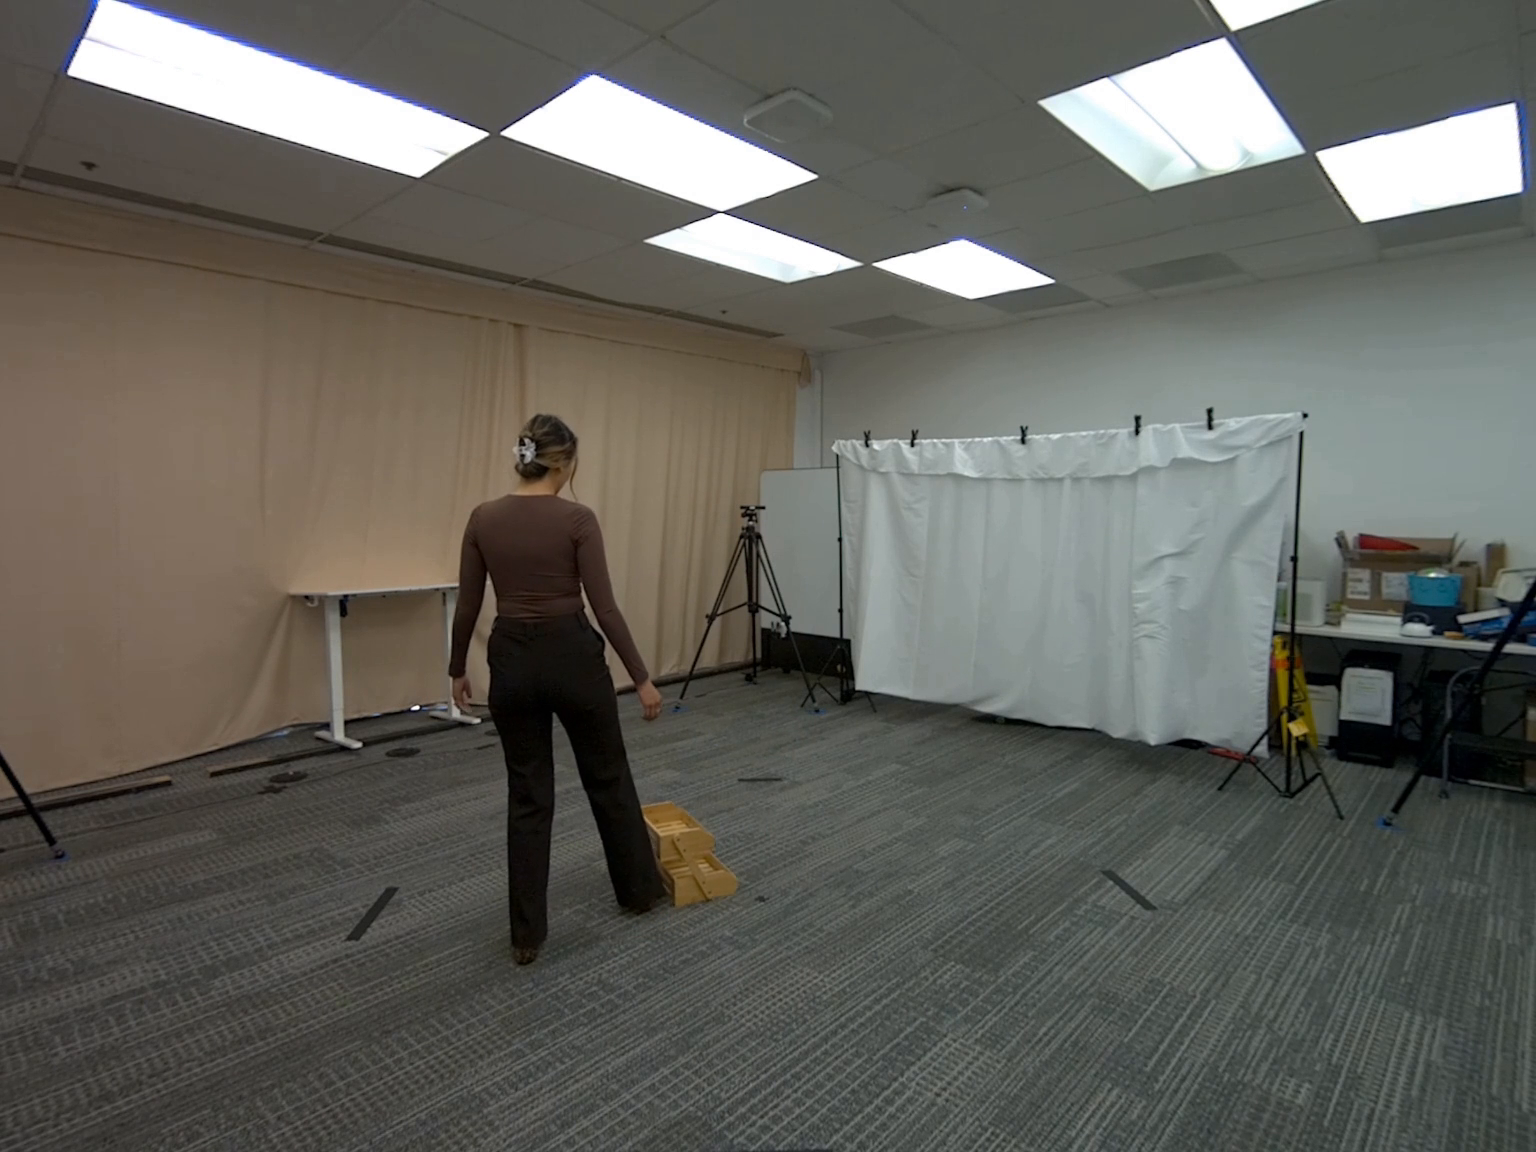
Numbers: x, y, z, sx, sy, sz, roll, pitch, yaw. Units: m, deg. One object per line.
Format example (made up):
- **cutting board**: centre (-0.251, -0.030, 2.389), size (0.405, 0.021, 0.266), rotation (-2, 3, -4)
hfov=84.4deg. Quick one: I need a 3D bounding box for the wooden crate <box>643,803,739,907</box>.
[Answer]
- **wooden crate**: centre (-0.302, 1.004, 3.099), size (0.295, 0.273, 0.333), rotation (-3, 5, -26)
